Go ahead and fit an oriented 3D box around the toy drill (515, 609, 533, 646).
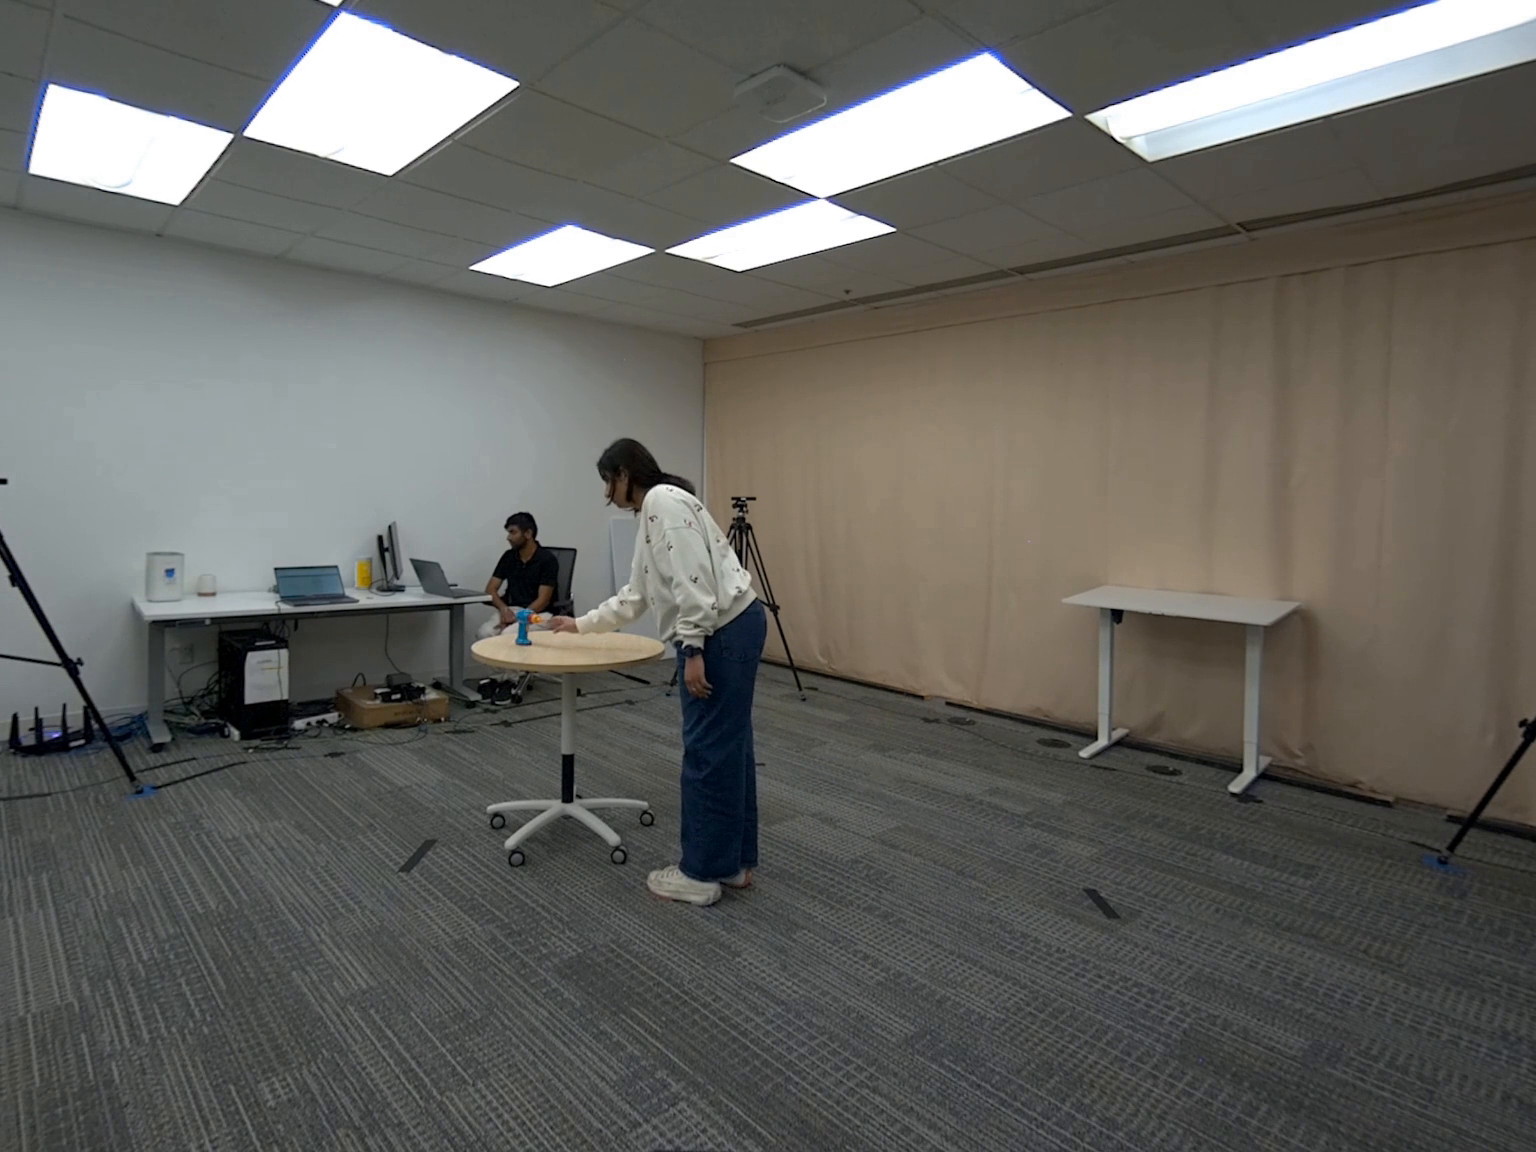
[{"bbox_3d":[-0.960,0.206,3.375,0.173,0.146,0.060,2,4,31],"label":"toy drill"}]
